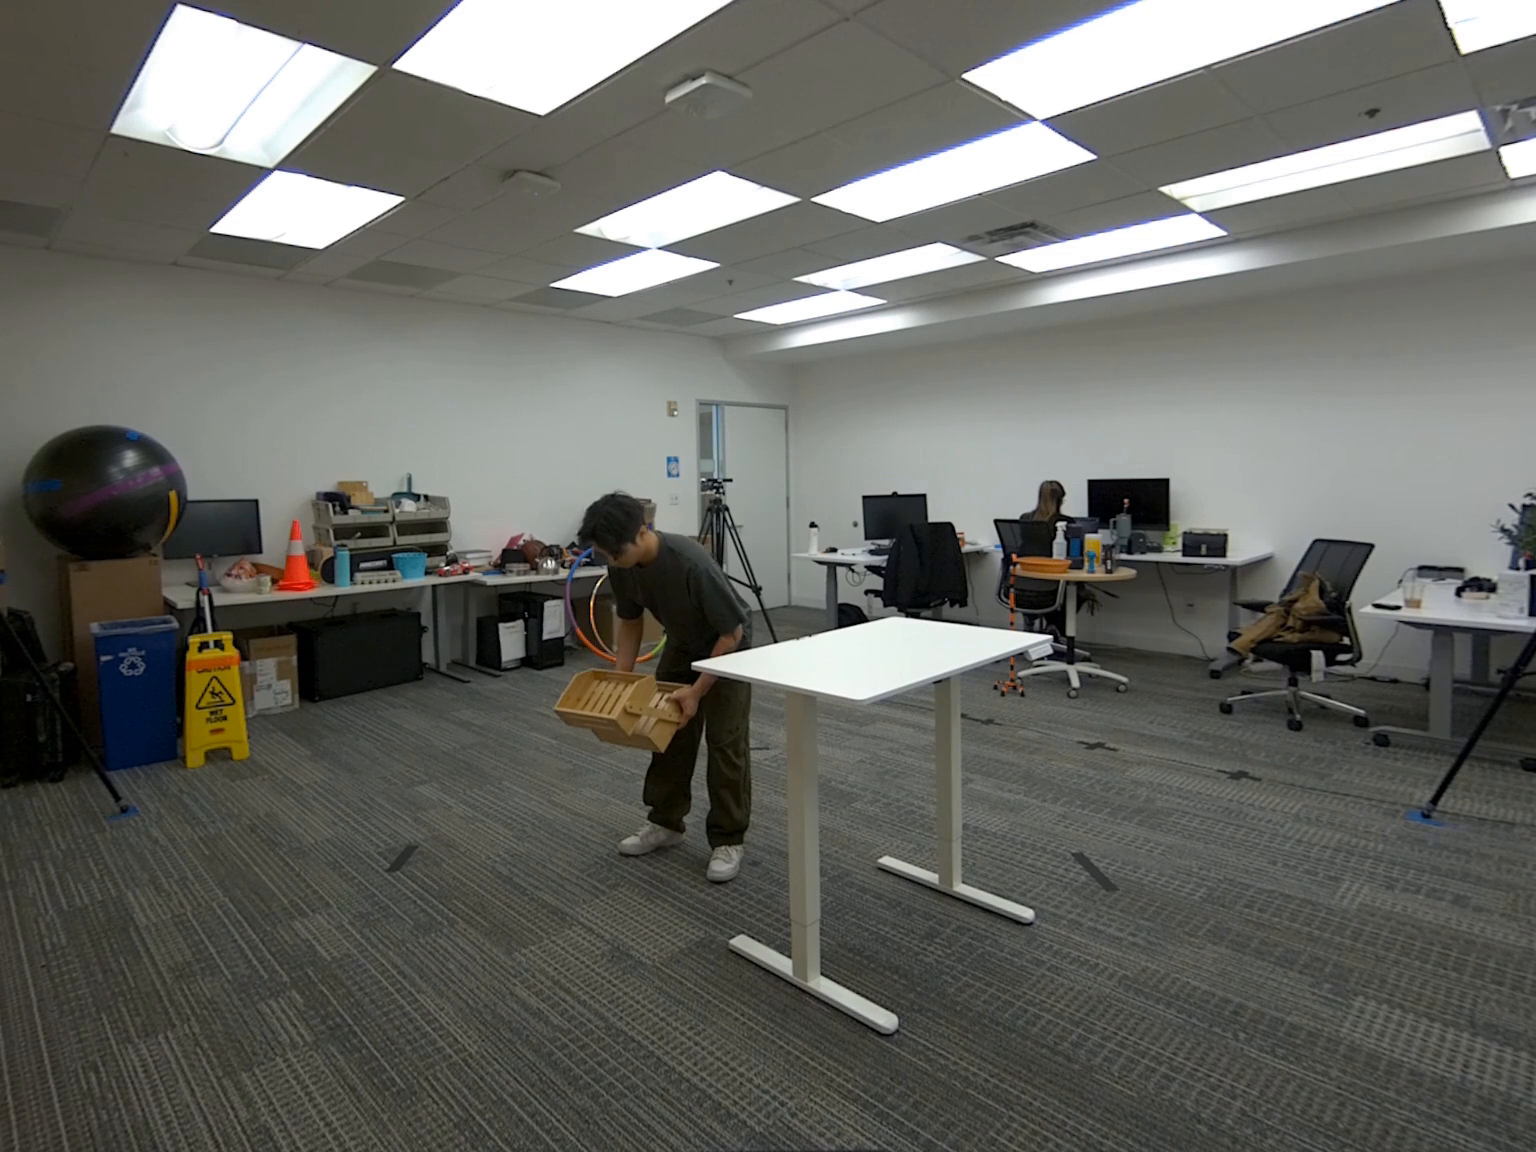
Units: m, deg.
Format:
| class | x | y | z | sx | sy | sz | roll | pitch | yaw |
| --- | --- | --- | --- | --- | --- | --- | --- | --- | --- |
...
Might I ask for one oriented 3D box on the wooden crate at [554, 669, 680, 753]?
| class | x | y | z | sx | sy | sz | roll | pitch | yaw |
| --- | --- | --- | --- | --- | --- | --- | --- | --- | --- |
| wooden crate | -0.487 | 0.419 | 2.916 | 0.333 | 0.264 | 0.304 | -1 | 44 | 38 |
